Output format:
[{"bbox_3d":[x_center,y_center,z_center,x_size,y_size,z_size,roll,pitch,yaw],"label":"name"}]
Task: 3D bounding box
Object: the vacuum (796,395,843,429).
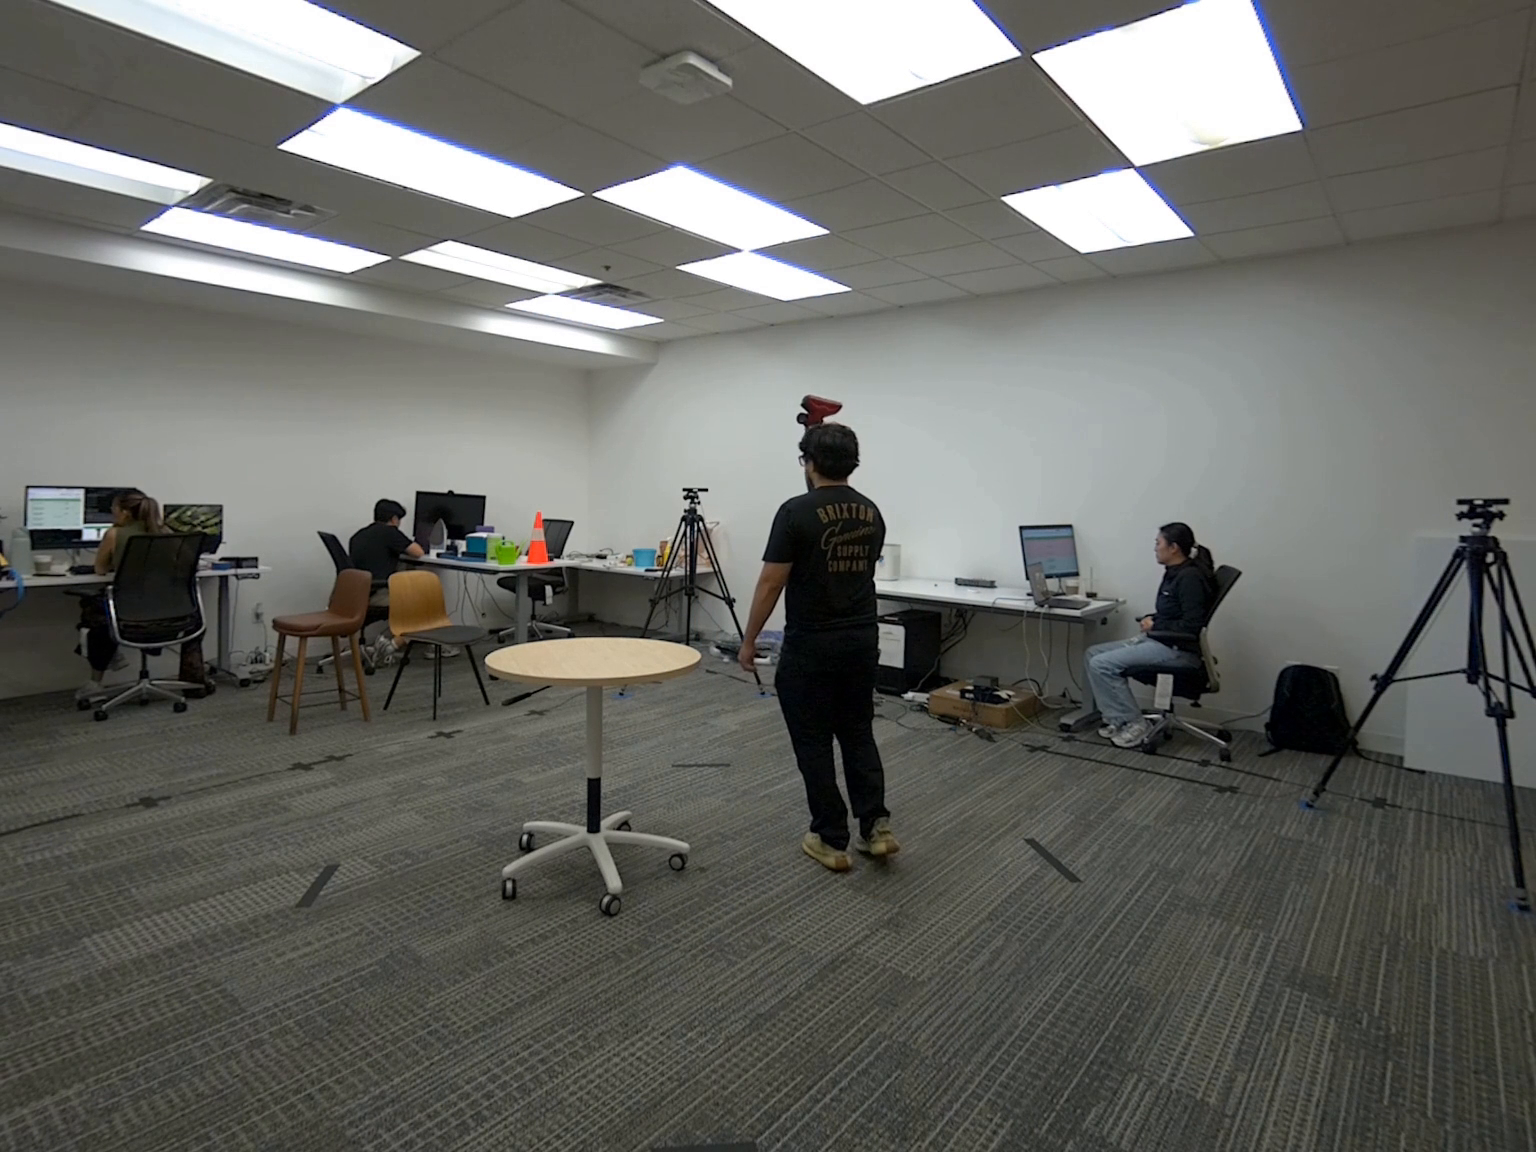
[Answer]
[{"bbox_3d":[0.234,-0.225,3.755,0.244,1.055,0.148,4,-7,-44],"label":"vacuum"}]
